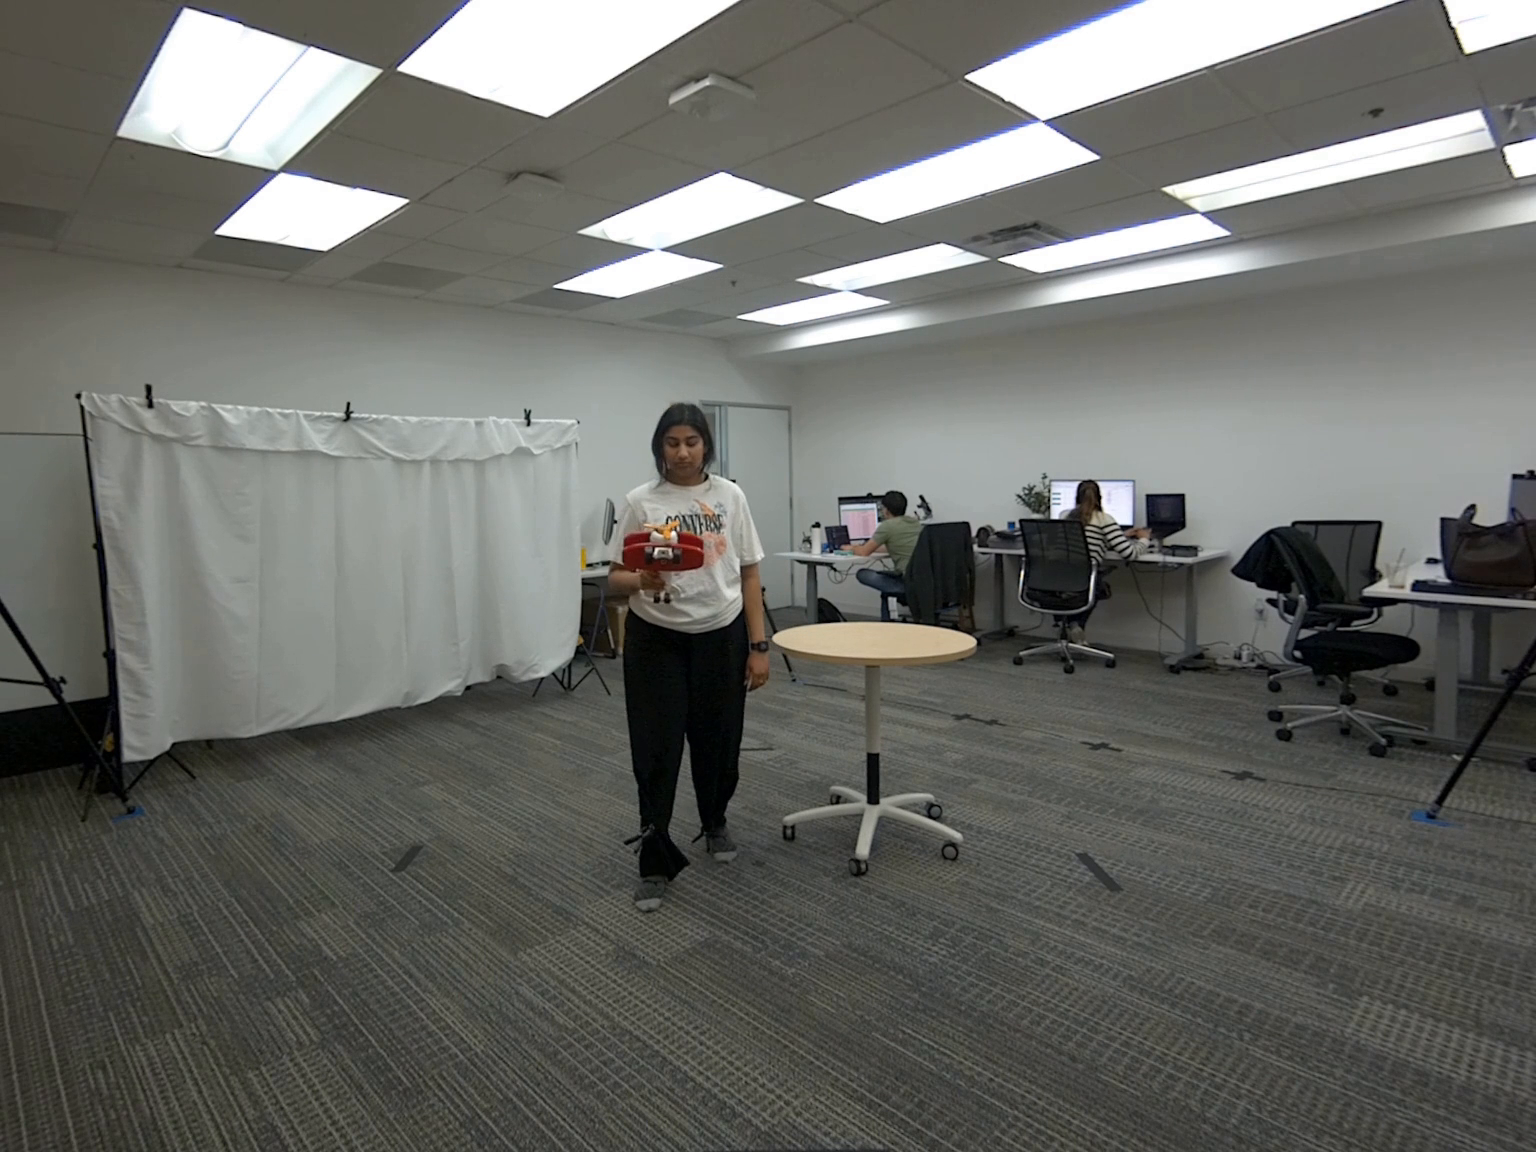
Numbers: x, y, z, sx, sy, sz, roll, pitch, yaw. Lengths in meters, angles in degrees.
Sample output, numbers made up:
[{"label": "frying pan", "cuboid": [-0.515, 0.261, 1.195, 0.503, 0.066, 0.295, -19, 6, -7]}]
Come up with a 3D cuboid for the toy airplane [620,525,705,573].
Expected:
[{"label": "toy airplane", "cuboid": [-0.350, -0.038, 2.691, 0.244, 0.258, 0.161, 23, 37, -24]}]
